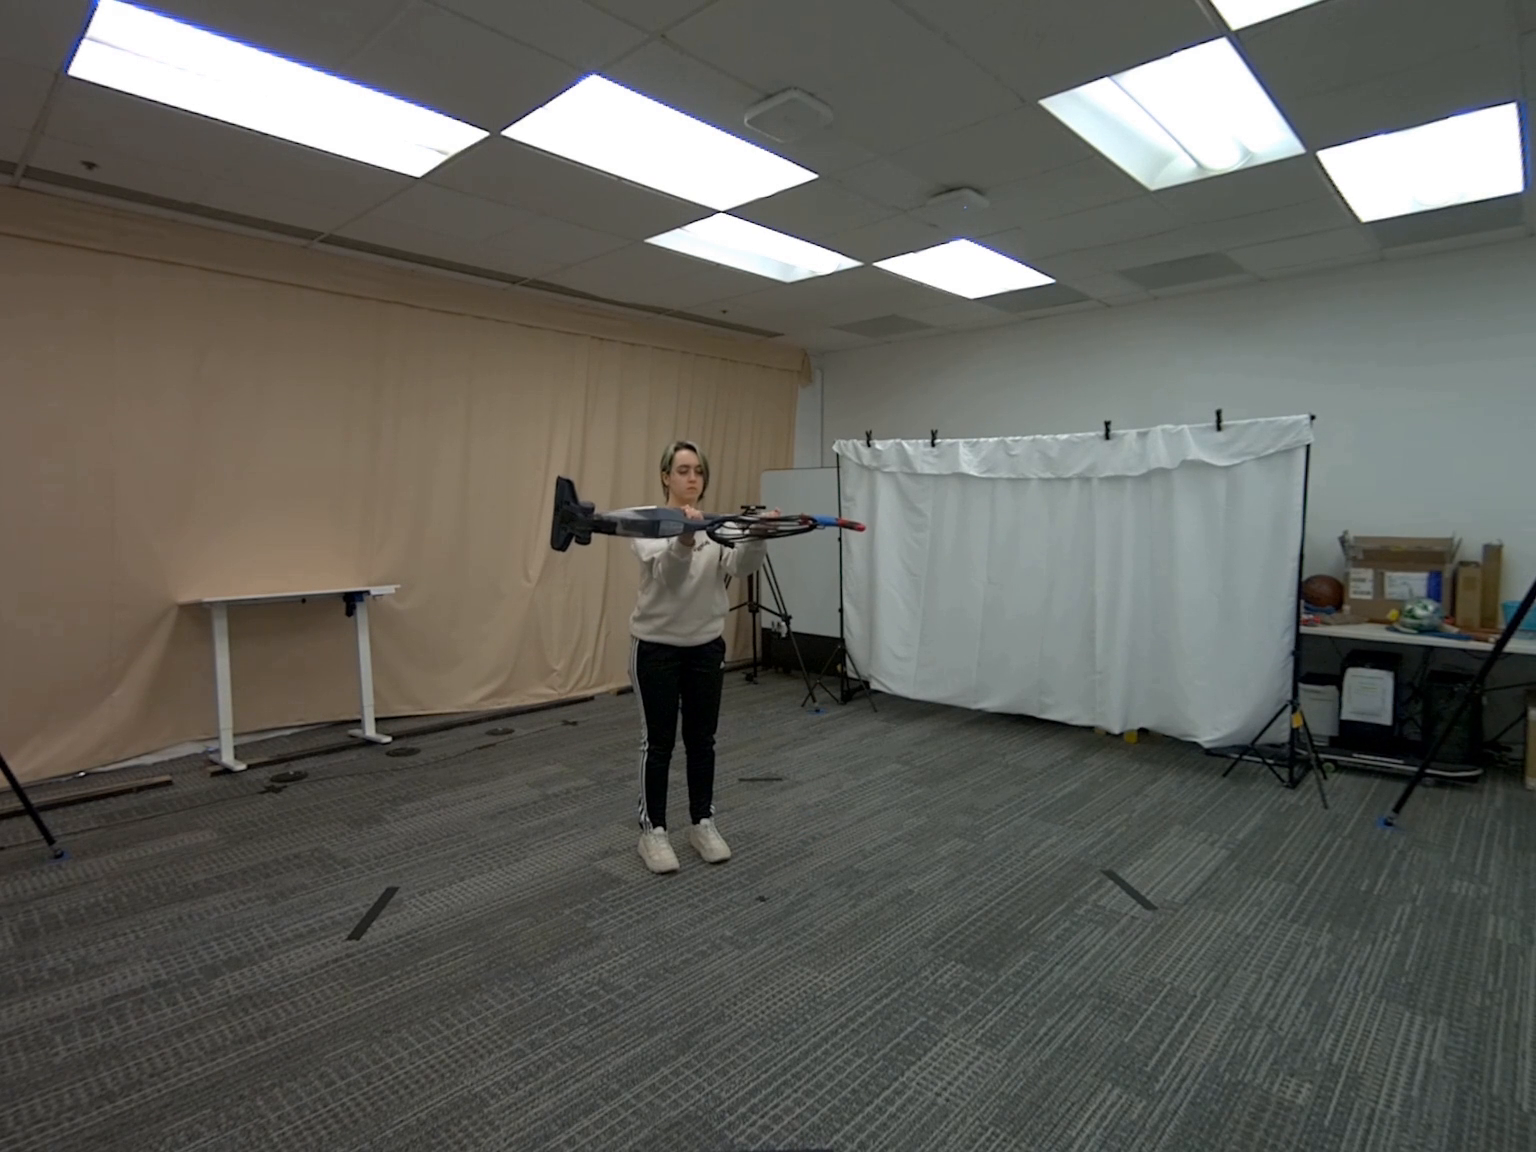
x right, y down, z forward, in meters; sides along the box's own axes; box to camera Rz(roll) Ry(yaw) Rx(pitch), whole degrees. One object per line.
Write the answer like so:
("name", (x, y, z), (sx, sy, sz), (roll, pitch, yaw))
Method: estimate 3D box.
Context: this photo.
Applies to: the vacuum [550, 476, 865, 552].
("vacuum", (-0.159, -0.175, 2.840), (1.028, 0.250, 0.148), (0, 29, -20))
